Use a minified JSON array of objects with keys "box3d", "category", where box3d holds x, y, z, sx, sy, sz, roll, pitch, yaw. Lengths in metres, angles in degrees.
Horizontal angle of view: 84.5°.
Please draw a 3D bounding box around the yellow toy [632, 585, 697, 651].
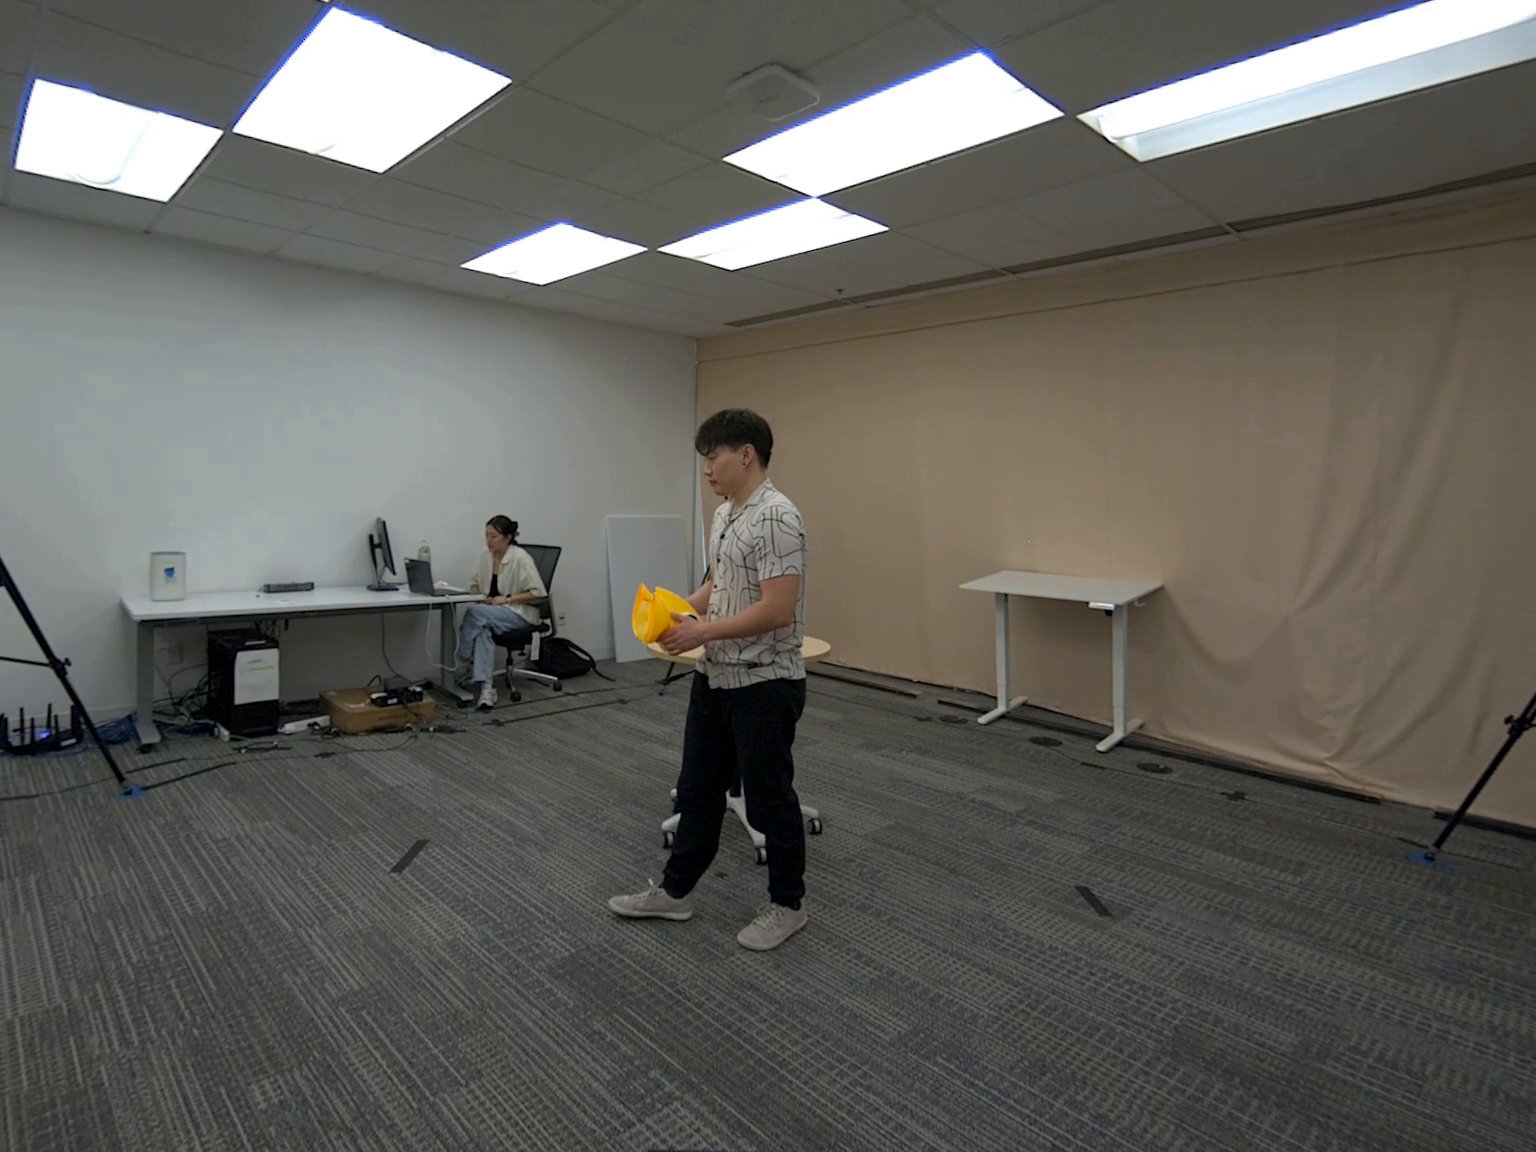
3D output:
[{"box3d":[-0.281,0.133,2.580,0.226,0.192,0.209,6,8,-22],"category":"yellow toy"}]
